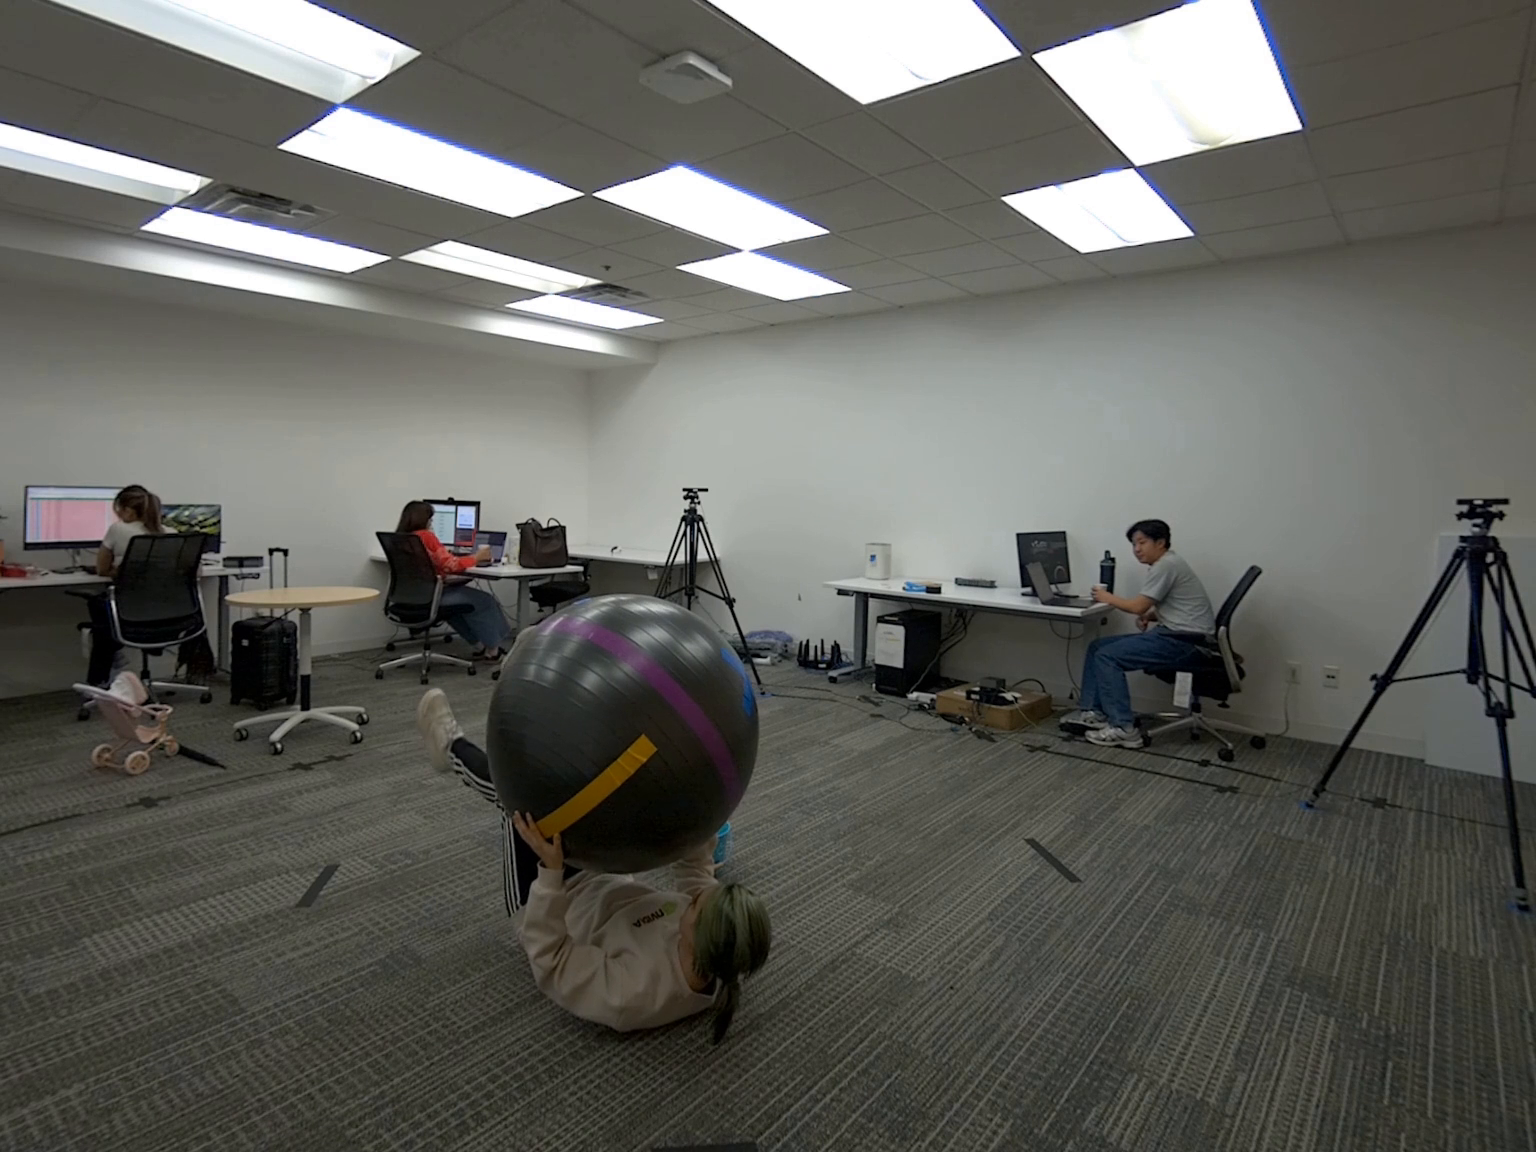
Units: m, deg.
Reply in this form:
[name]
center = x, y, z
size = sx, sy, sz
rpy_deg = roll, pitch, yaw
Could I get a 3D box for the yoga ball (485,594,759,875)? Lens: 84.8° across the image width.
[yoga ball]
center = -0.409, 0.427, 2.381
size = 0.757, 0.755, 0.762
rpy_deg = 1, 4, -2
